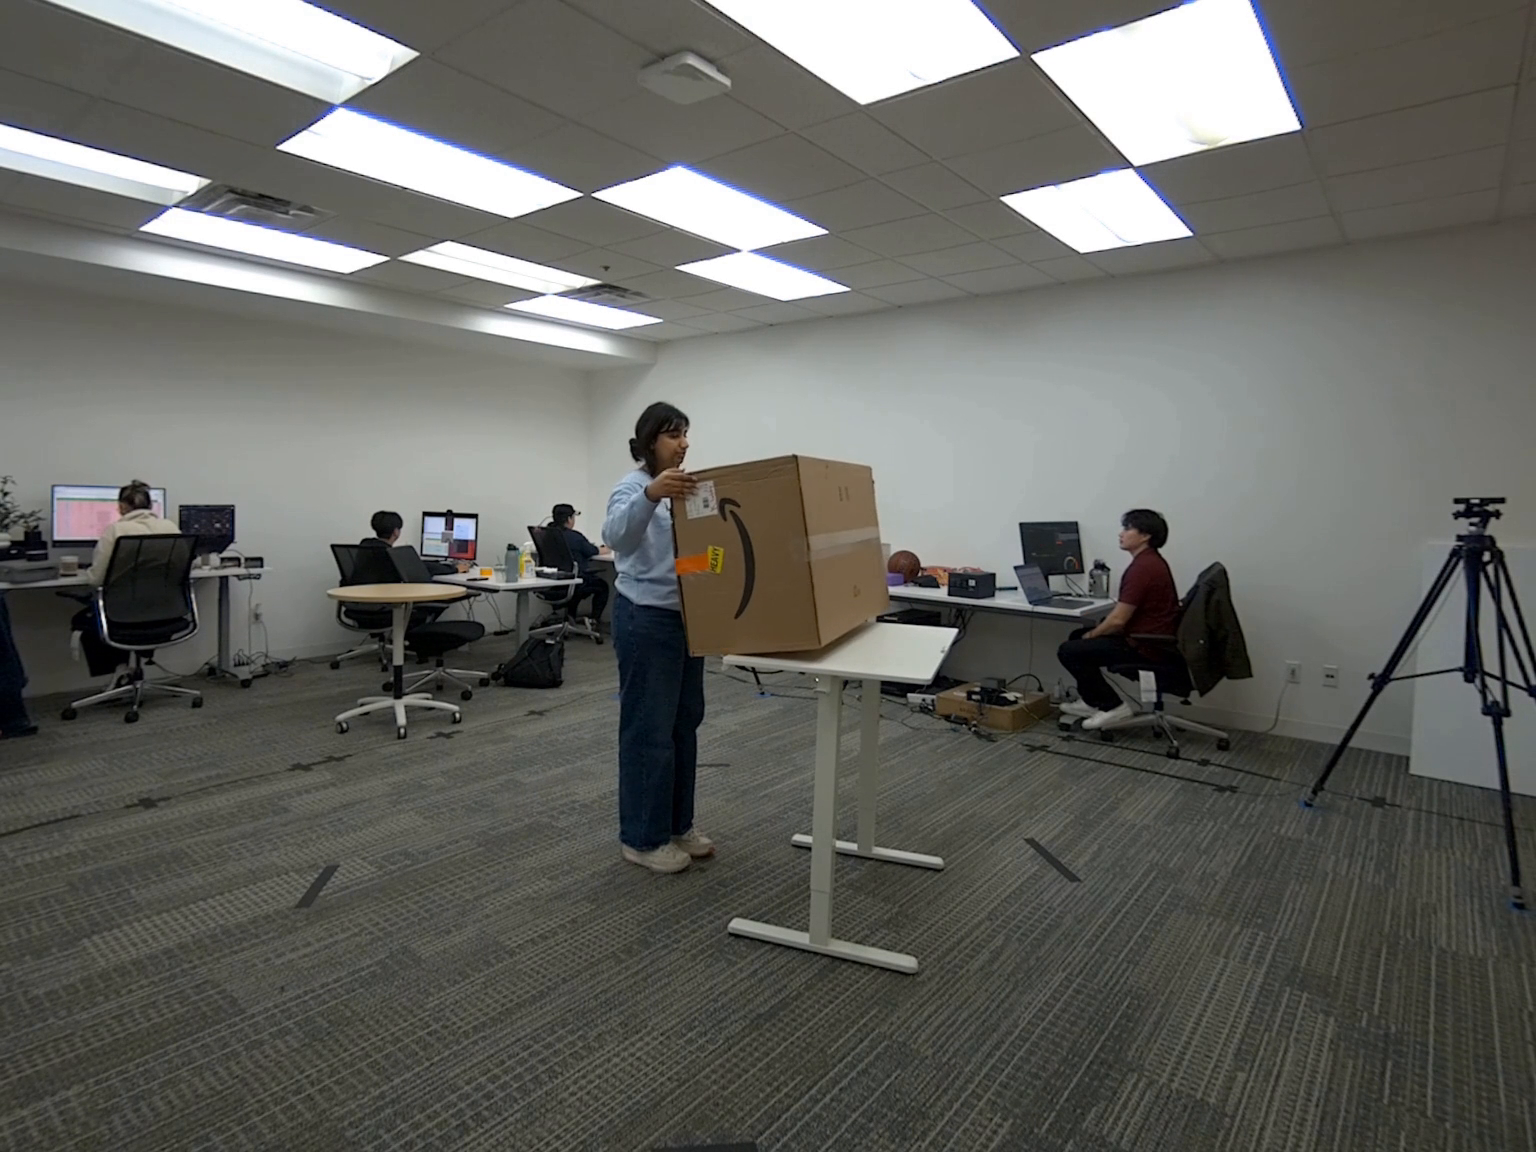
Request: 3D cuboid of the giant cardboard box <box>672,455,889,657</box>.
[{"bbox_3d":[0.080,-0.096,3.012,0.434,0.577,1.006,-7,2,21],"label":"giant cardboard box"}]
